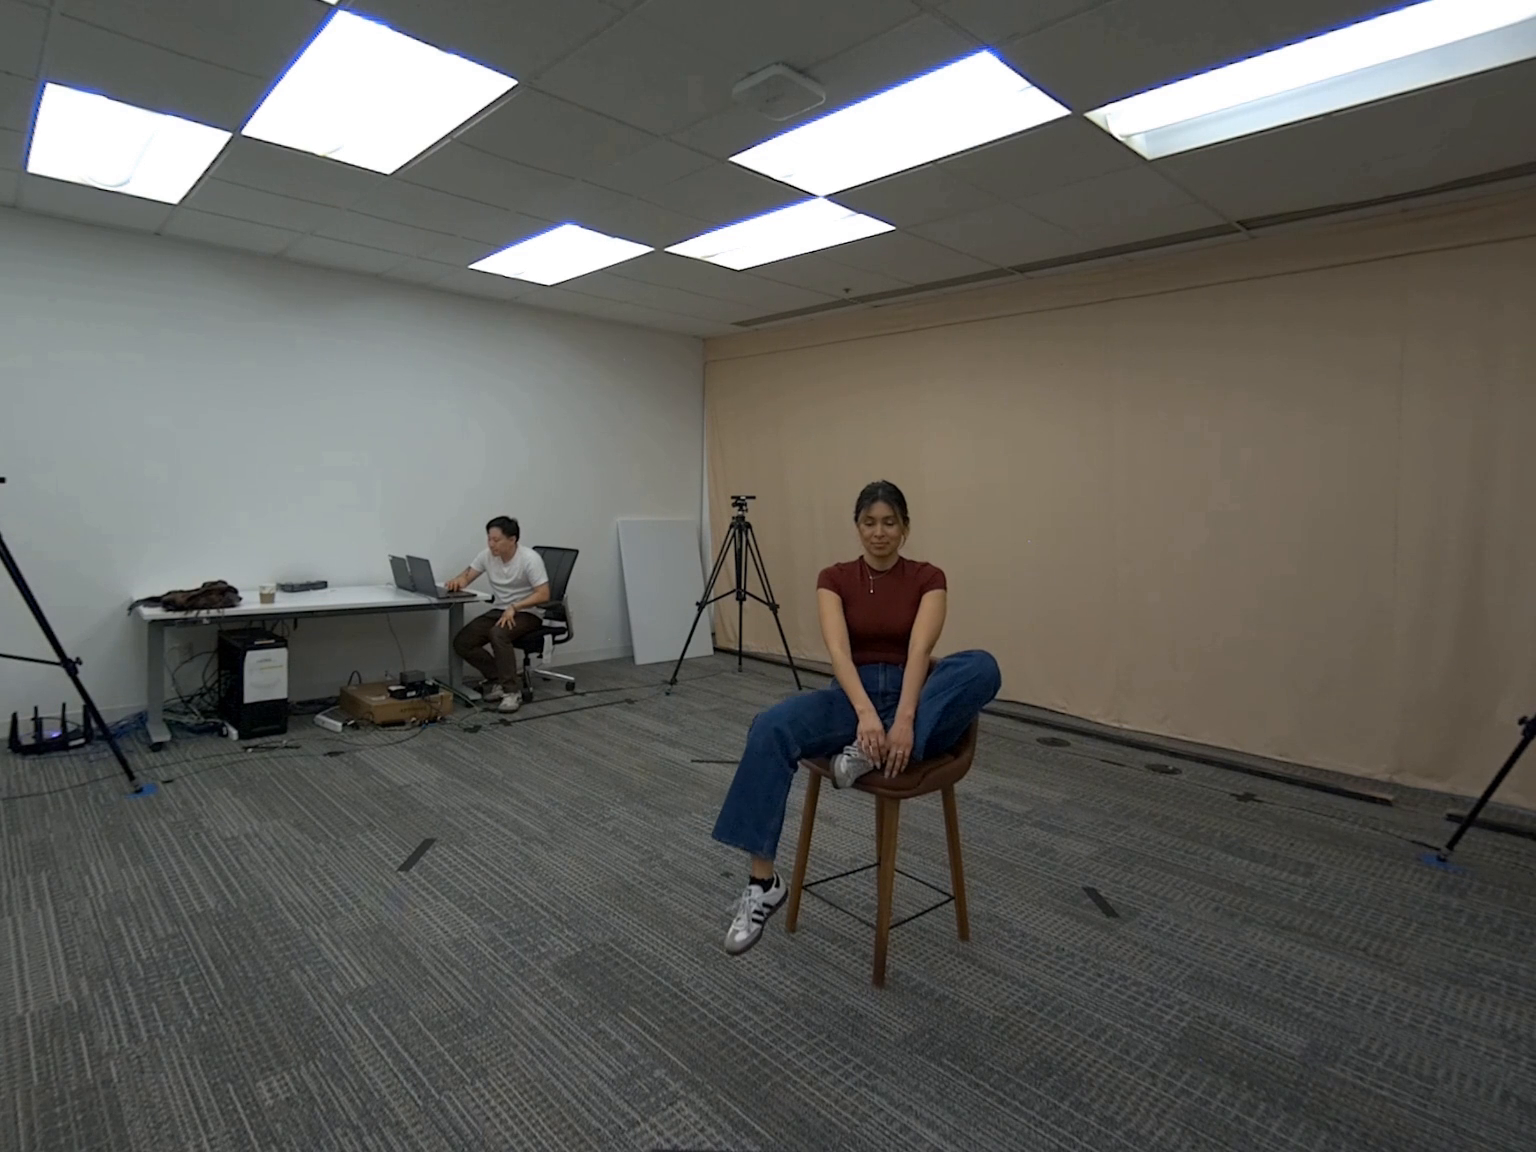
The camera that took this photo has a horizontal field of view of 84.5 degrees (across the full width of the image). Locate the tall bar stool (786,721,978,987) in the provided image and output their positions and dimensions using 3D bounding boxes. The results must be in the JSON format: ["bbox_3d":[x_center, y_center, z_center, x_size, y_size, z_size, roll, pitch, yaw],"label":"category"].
[{"bbox_3d":[0.376,0.721,2.671,0.456,0.888,0.468,1,4,-39],"label":"tall bar stool"}]
